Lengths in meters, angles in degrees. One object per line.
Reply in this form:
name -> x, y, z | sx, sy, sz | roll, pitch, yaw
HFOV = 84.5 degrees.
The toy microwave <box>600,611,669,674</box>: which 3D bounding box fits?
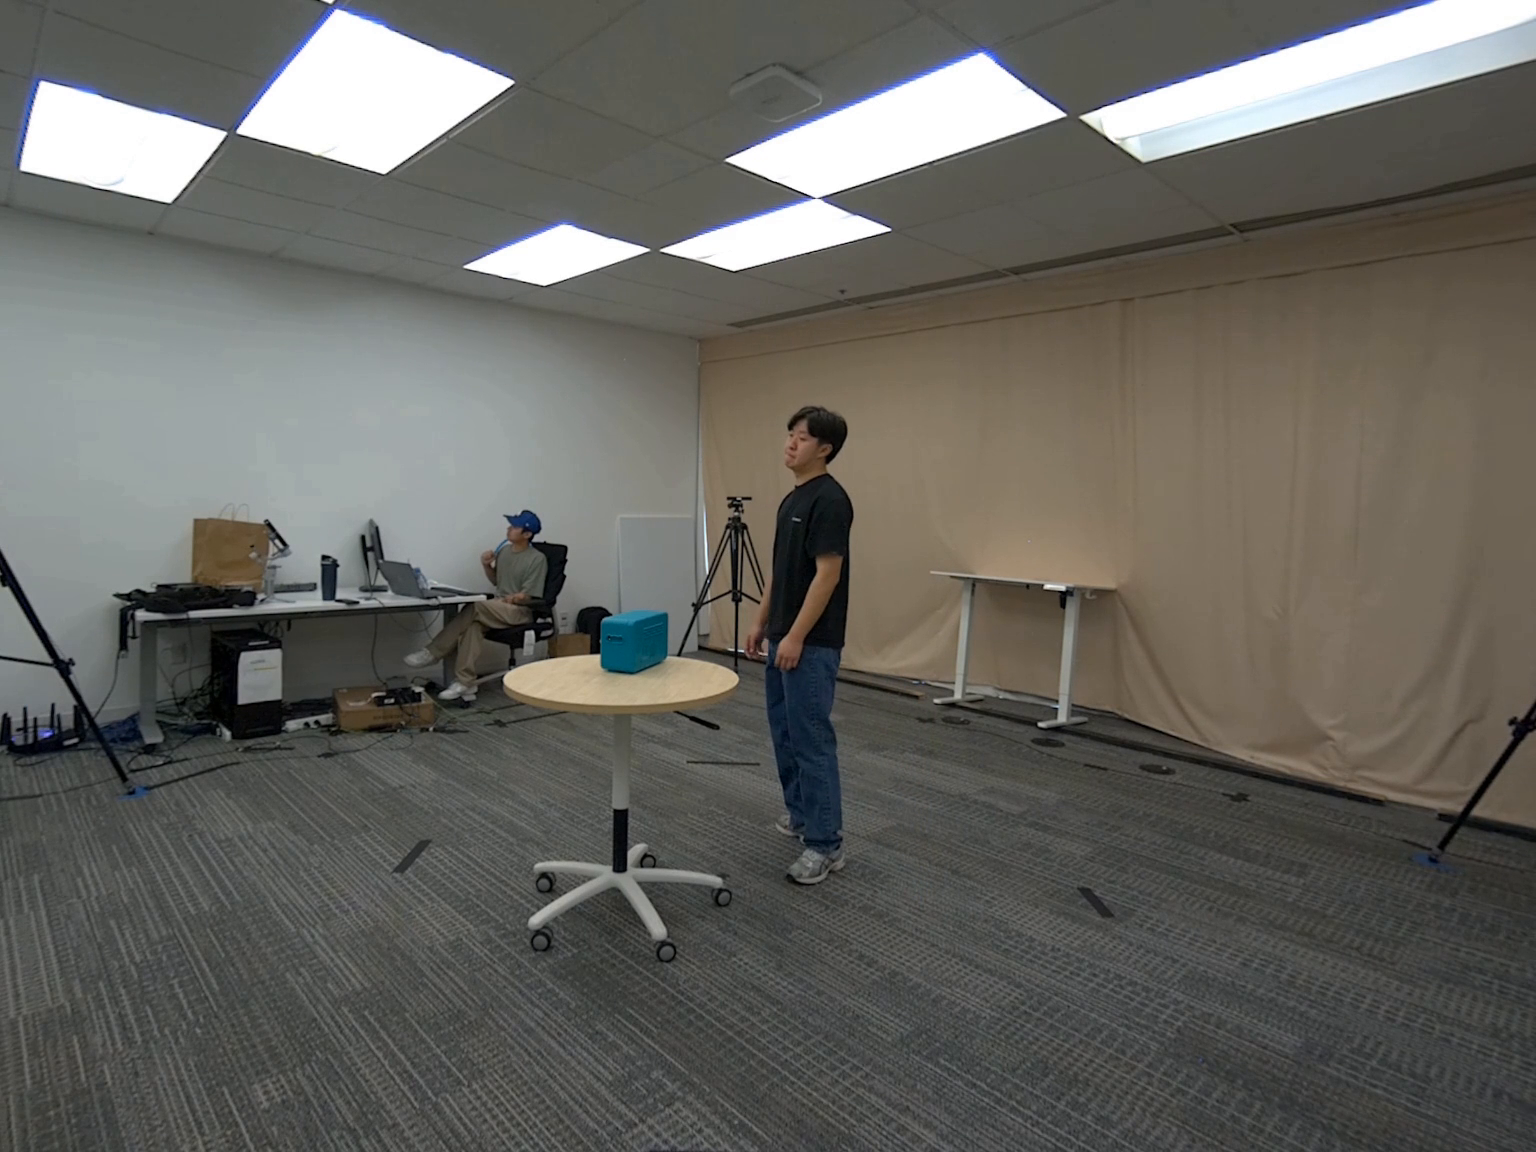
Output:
toy microwave -> -0.476, 0.226, 2.936 | 0.154, 0.183, 0.283 | 2, 4, 16
